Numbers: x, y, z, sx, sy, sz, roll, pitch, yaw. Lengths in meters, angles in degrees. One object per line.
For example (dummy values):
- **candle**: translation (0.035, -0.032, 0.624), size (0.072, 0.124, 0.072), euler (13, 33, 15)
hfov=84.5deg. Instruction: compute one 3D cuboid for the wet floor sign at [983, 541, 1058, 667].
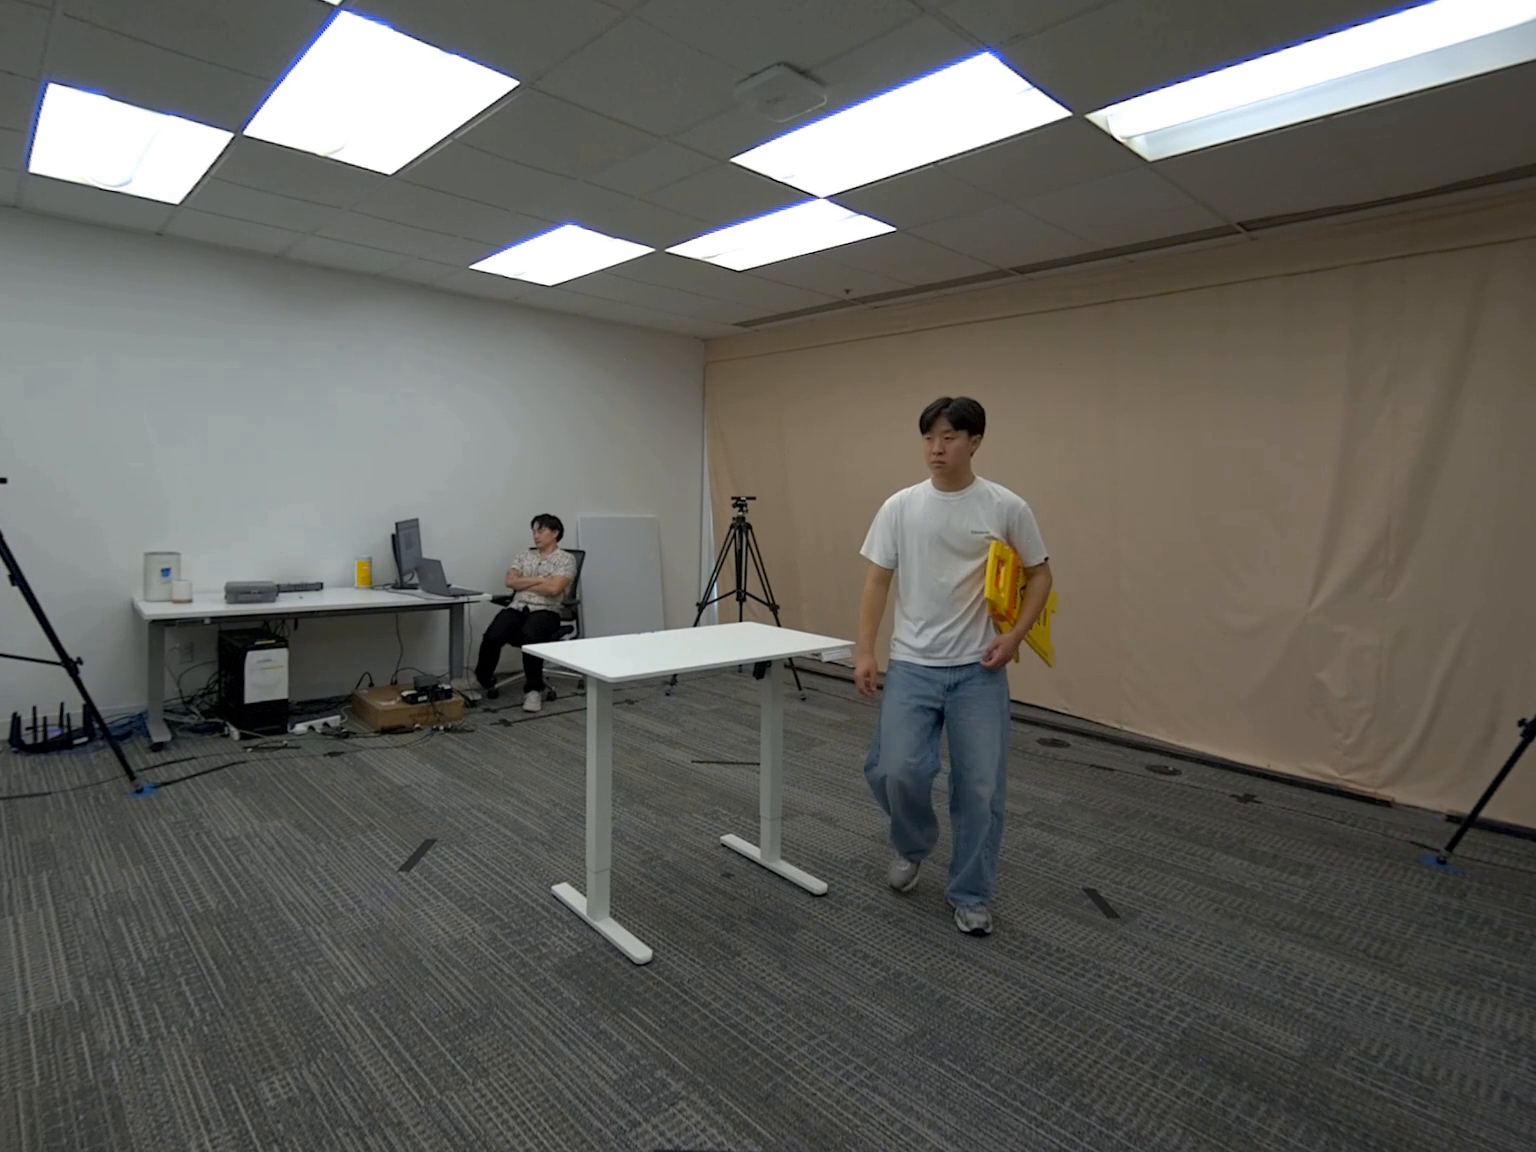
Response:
- **wet floor sign**: translation (0.798, 0.088, 2.875), size (0.295, 0.285, 0.627), euler (1, -20, 24)
